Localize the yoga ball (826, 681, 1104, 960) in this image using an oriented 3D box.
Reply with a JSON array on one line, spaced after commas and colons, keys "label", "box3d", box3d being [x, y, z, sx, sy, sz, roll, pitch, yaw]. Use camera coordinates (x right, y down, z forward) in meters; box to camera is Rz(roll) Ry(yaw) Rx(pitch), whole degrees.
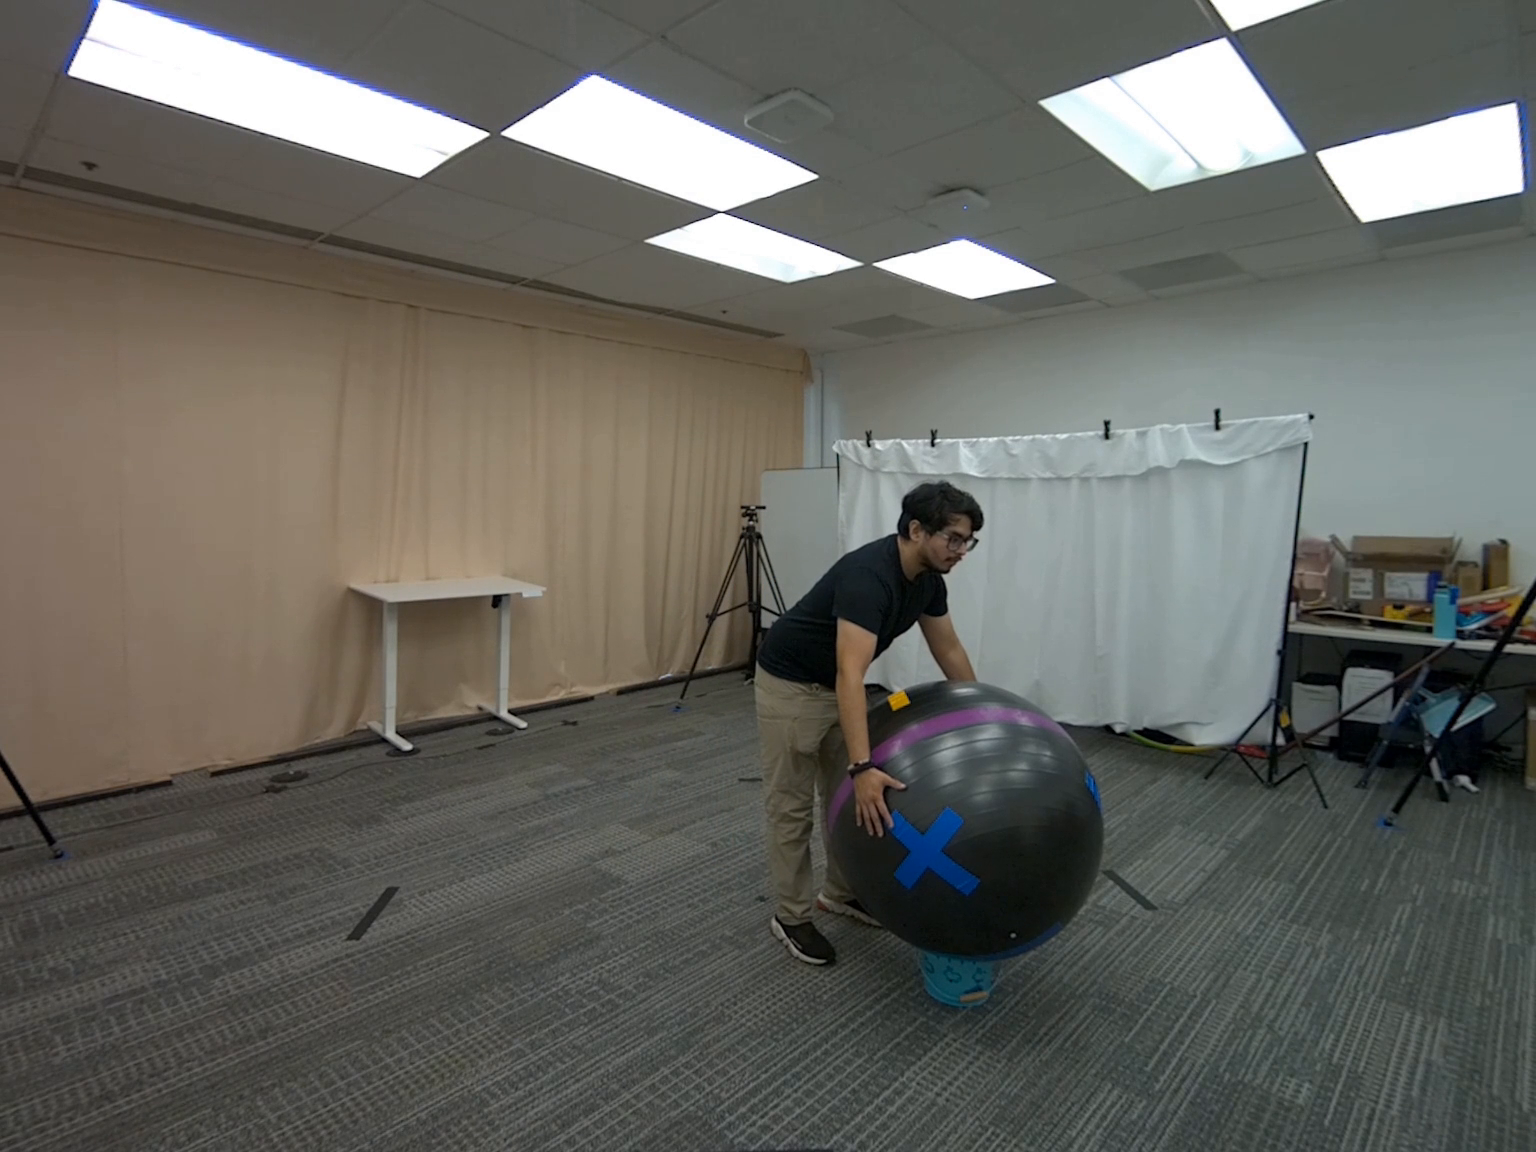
[{"label": "yoga ball", "box3d": [0.555, 0.683, 2.406, 0.757, 0.756, 0.760, 0, 4, -2]}]
